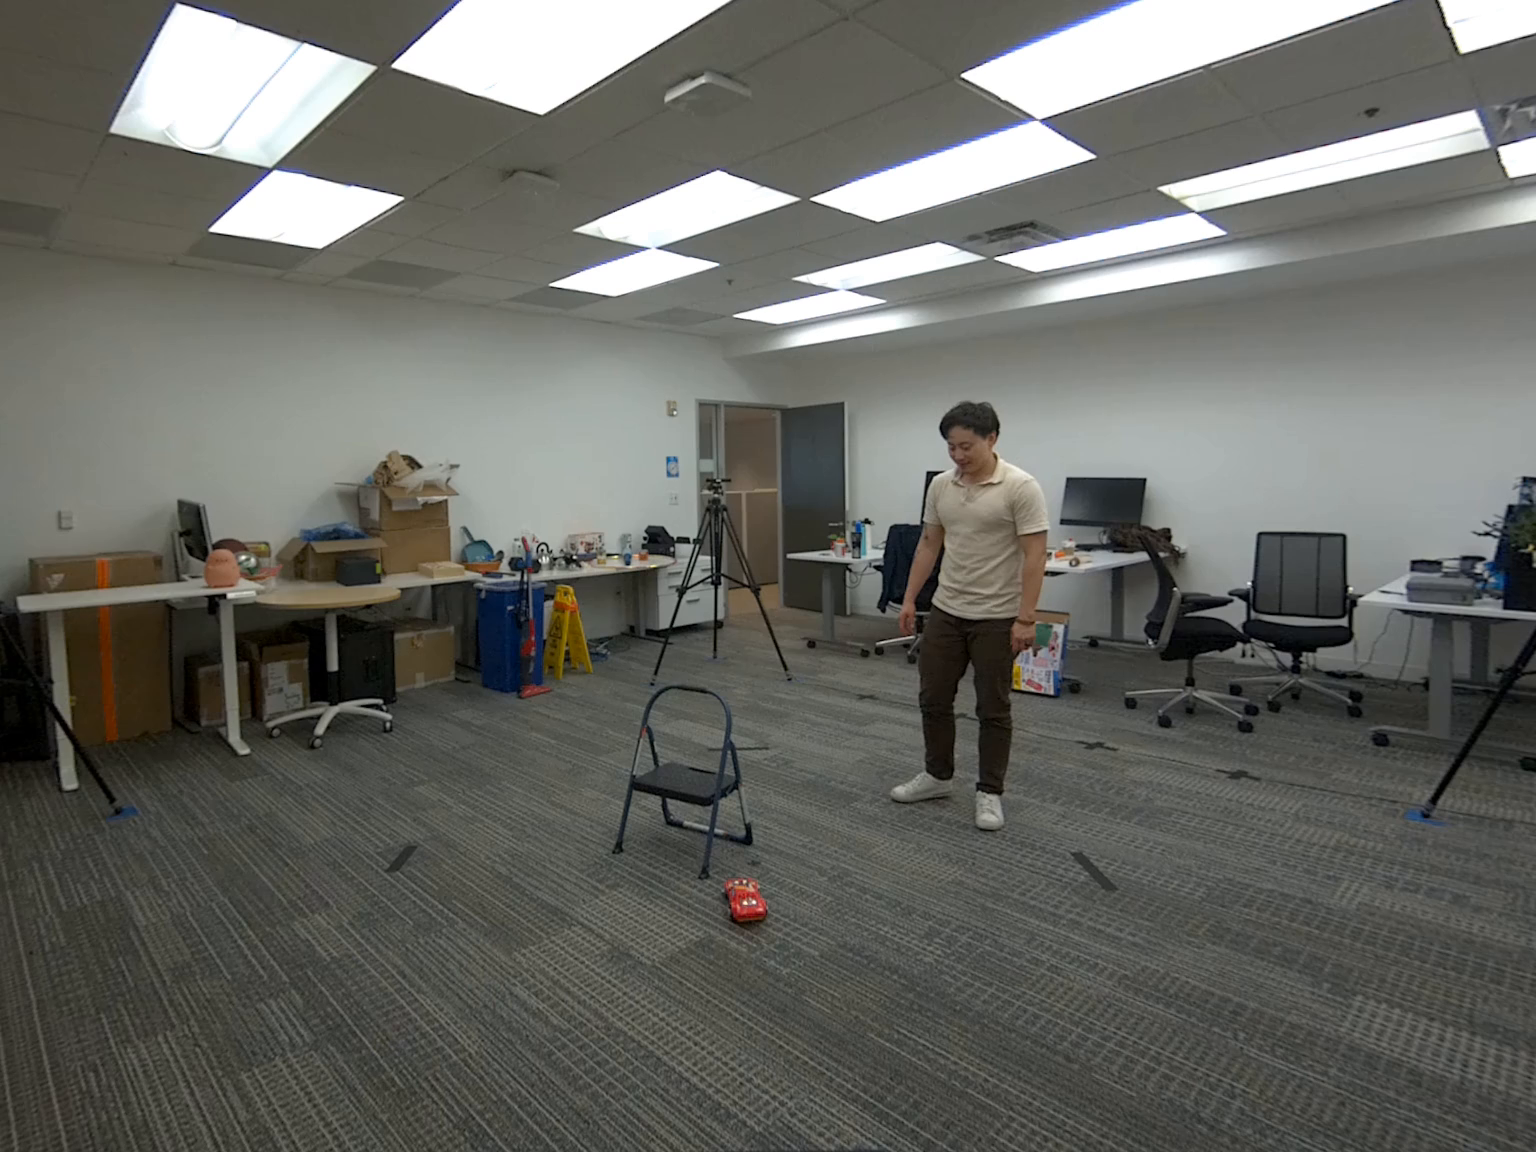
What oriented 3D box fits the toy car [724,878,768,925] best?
[{"bbox_3d":[-0.073,1.041,2.787,0.129,0.084,0.254,0,-7,-7],"label":"toy car"}]
